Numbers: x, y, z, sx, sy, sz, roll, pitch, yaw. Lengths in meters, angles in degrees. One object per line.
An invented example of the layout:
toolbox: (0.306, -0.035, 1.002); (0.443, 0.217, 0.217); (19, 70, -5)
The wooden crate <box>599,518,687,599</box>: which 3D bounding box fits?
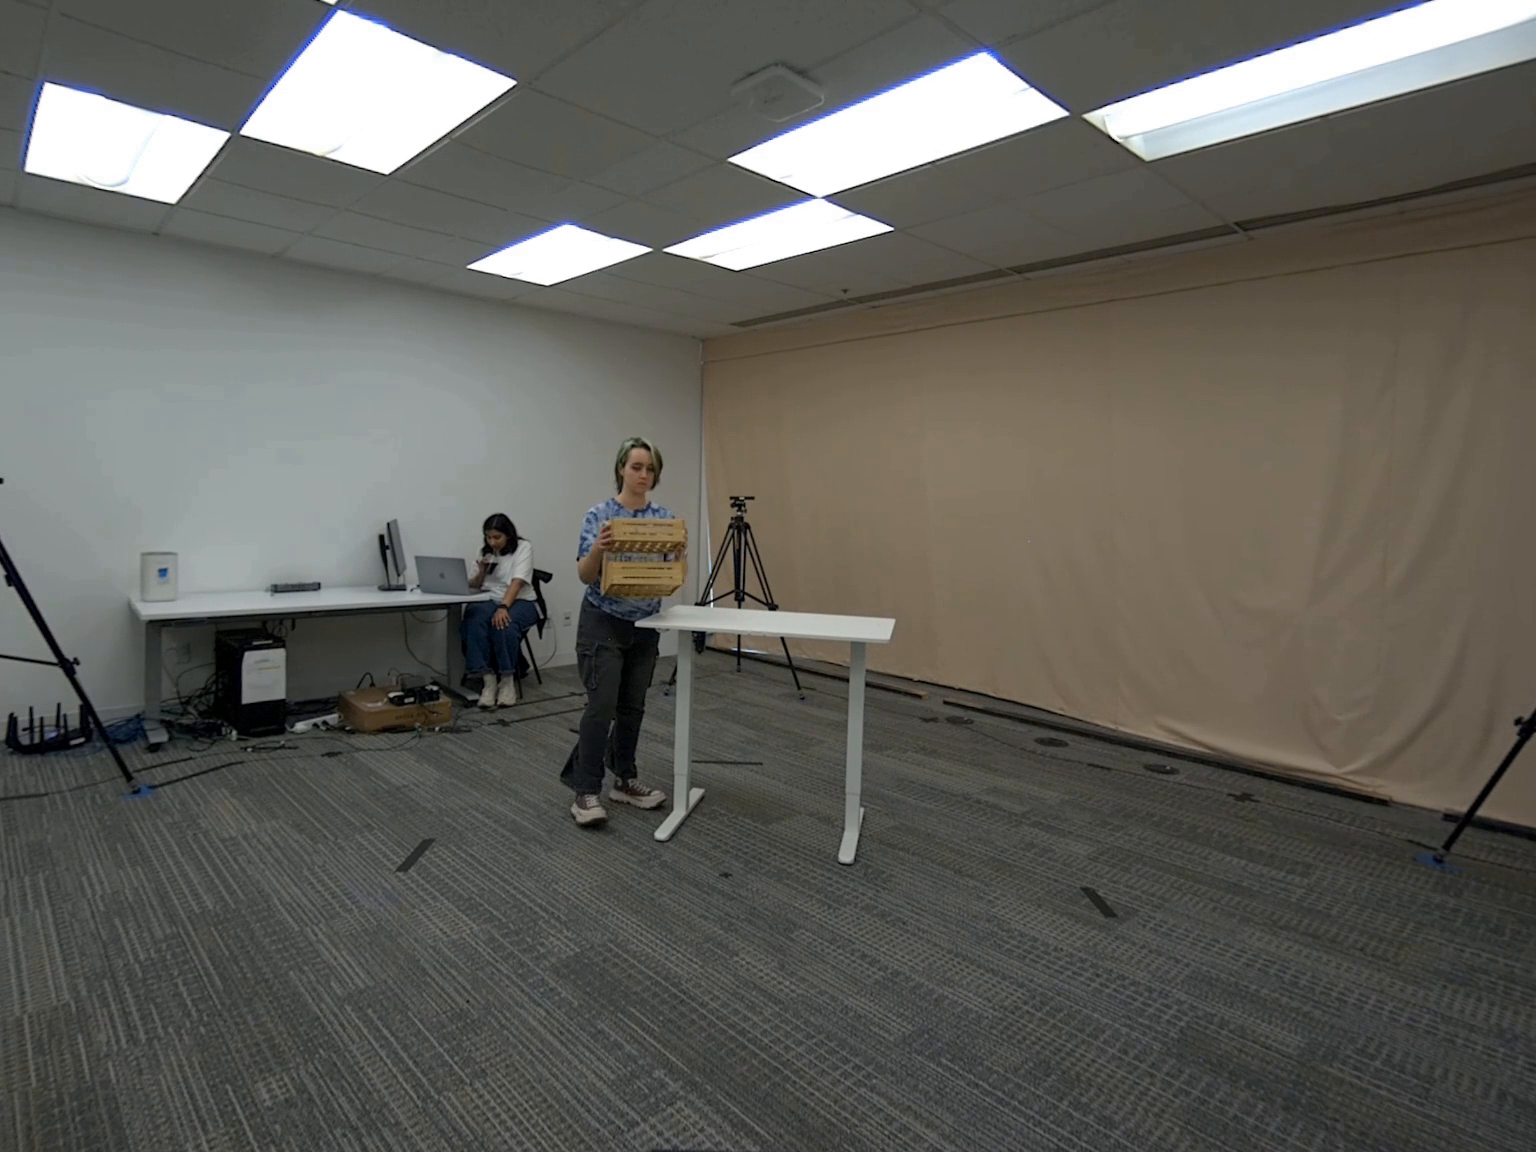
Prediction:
wooden crate: (-0.540, -0.072, 3.488); (0.320, 0.276, 0.303); (0, -15, -20)
